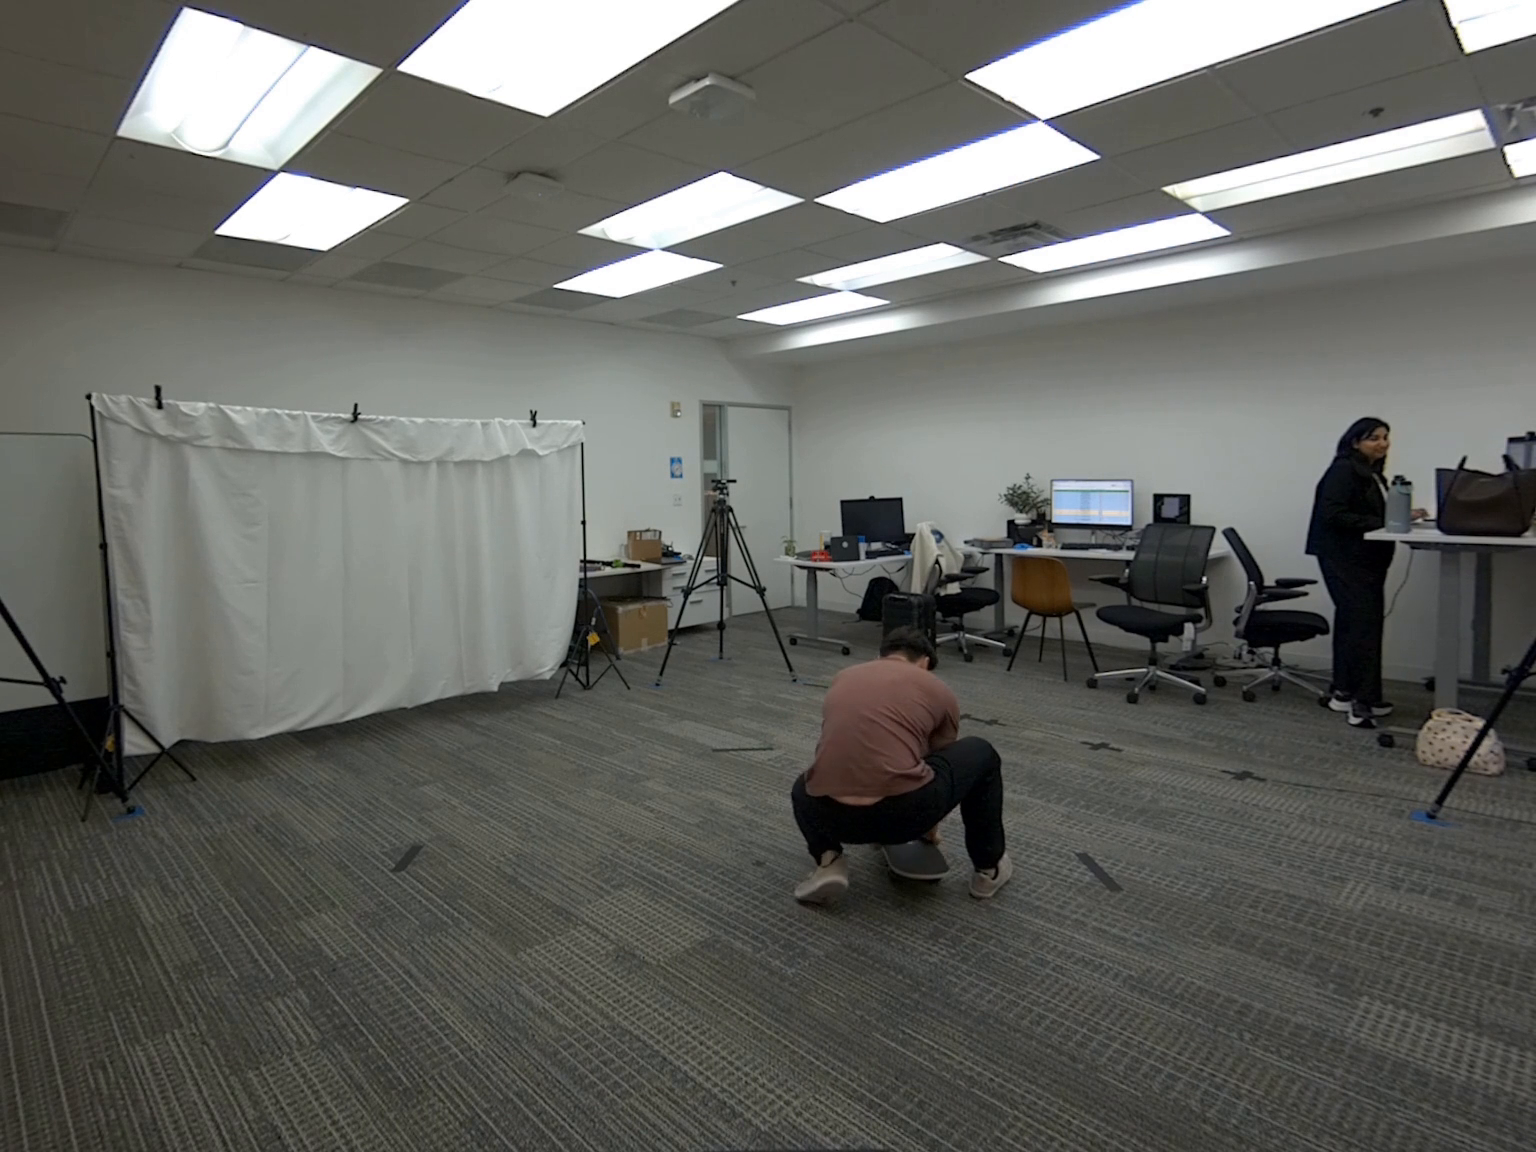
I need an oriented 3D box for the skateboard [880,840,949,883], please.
[{"bbox_3d":[0.488,0.973,3.156,0.193,0.110,0.790,-2,7,-2],"label":"skateboard"}]
